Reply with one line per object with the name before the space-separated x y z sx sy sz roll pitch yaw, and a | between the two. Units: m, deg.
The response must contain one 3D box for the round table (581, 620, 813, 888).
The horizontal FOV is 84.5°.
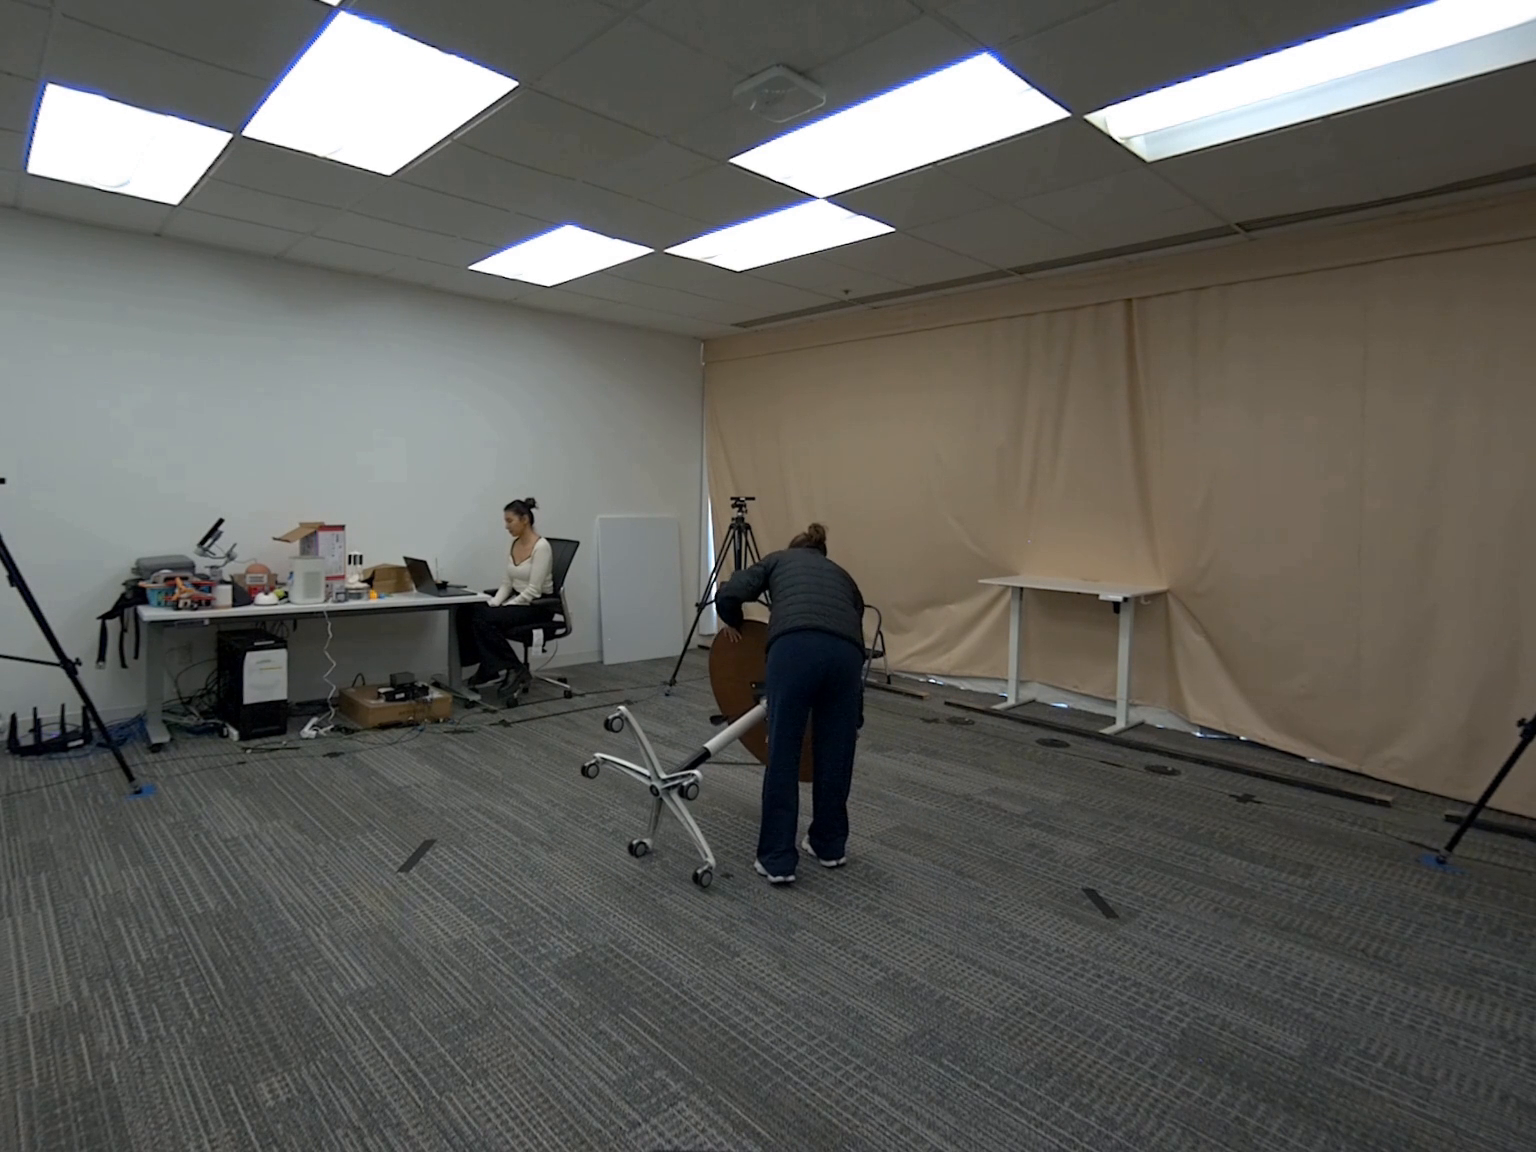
round table | -0.228 0.676 3.307 0.805 0.773 0.778 5 26 44
